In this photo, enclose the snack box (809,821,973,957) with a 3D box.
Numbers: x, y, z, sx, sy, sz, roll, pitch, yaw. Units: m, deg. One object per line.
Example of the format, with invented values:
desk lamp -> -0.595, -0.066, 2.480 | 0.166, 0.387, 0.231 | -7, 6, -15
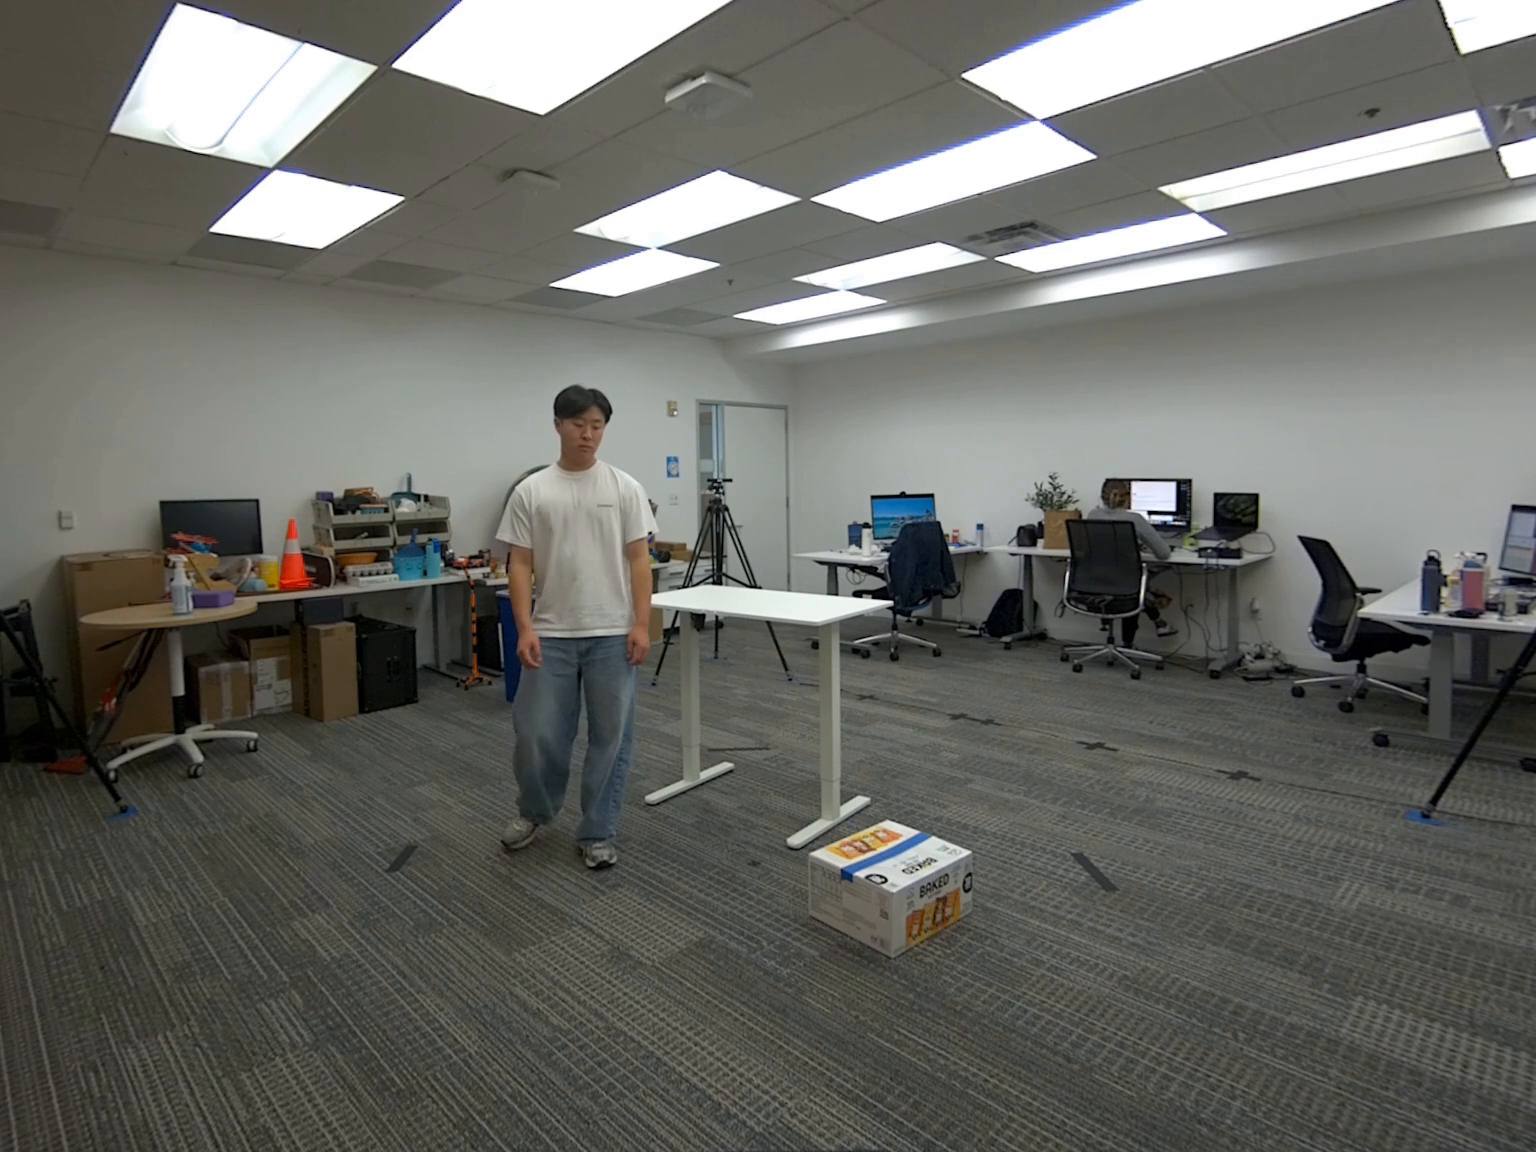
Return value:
snack box -> 0.393, 0.980, 2.718 | 0.394, 0.205, 0.351 | -6, 8, -41
